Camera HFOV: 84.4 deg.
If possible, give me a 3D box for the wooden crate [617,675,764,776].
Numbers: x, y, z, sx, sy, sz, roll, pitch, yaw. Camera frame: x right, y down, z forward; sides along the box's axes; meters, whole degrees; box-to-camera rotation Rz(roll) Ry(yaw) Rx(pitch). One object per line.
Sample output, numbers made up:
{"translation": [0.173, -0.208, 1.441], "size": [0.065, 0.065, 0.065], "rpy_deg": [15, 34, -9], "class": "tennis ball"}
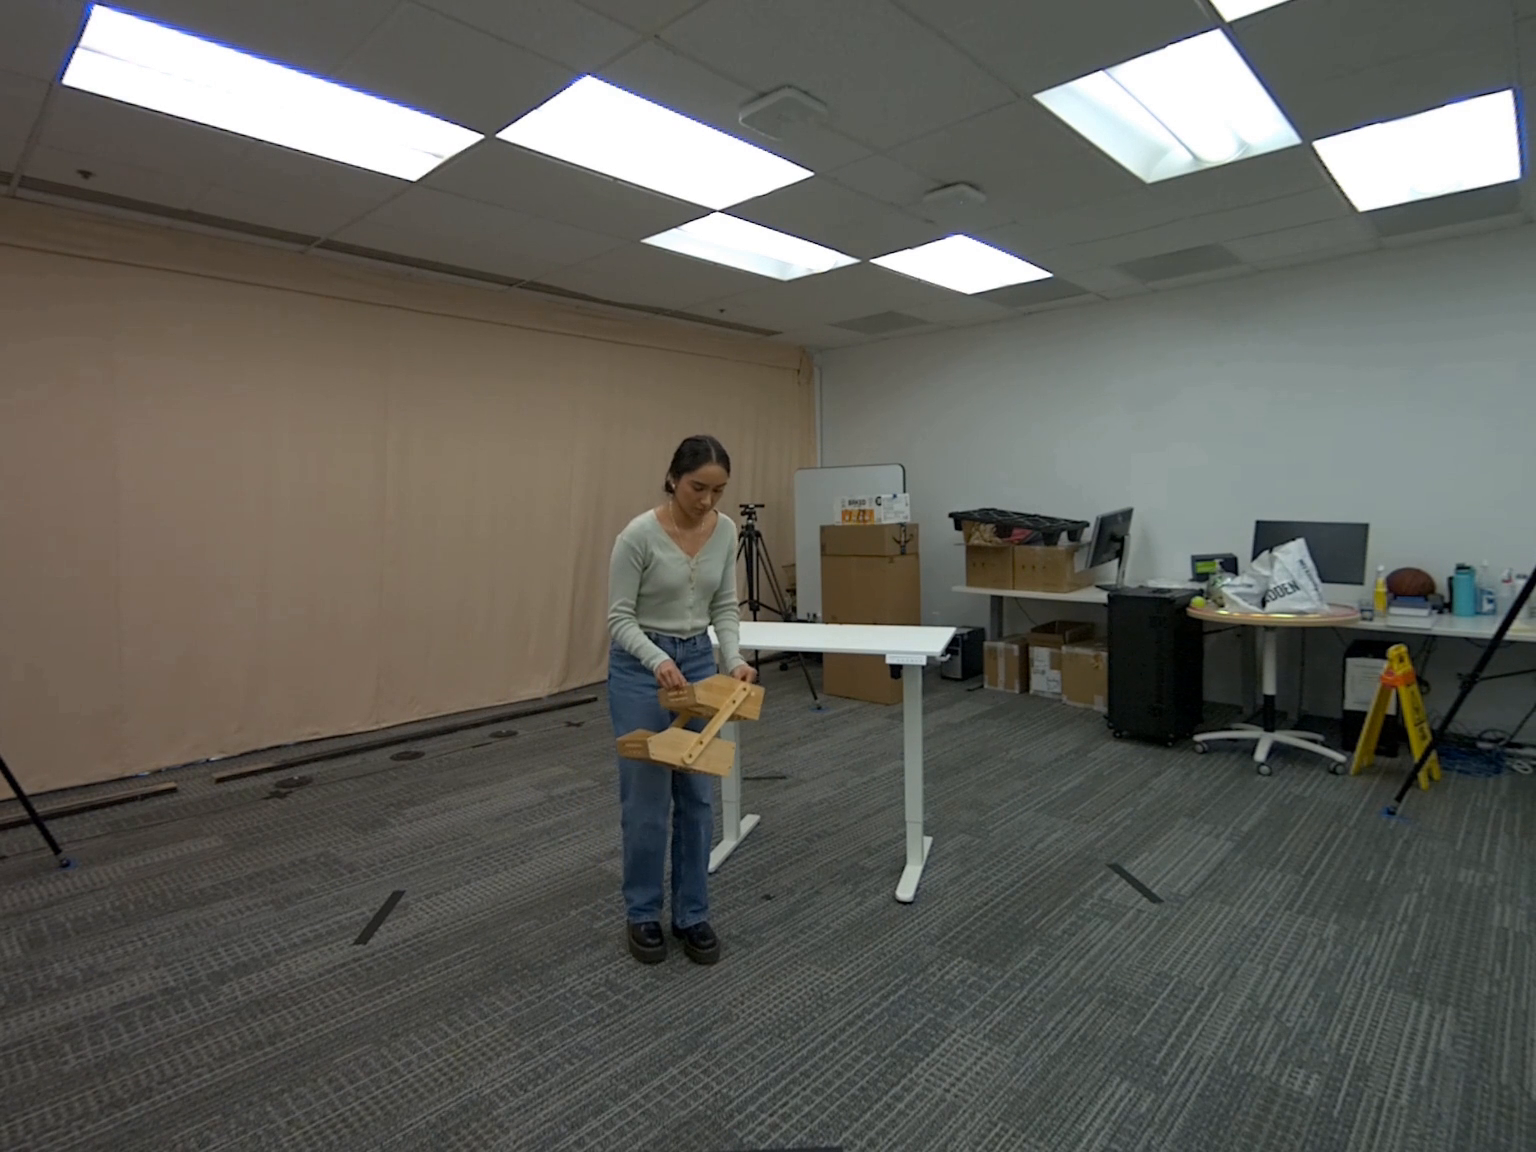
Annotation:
{"translation": [-0.238, 0.412, 2.412], "size": [0.296, 0.275, 0.329], "rpy_deg": [19, -17, -18], "class": "wooden crate"}
